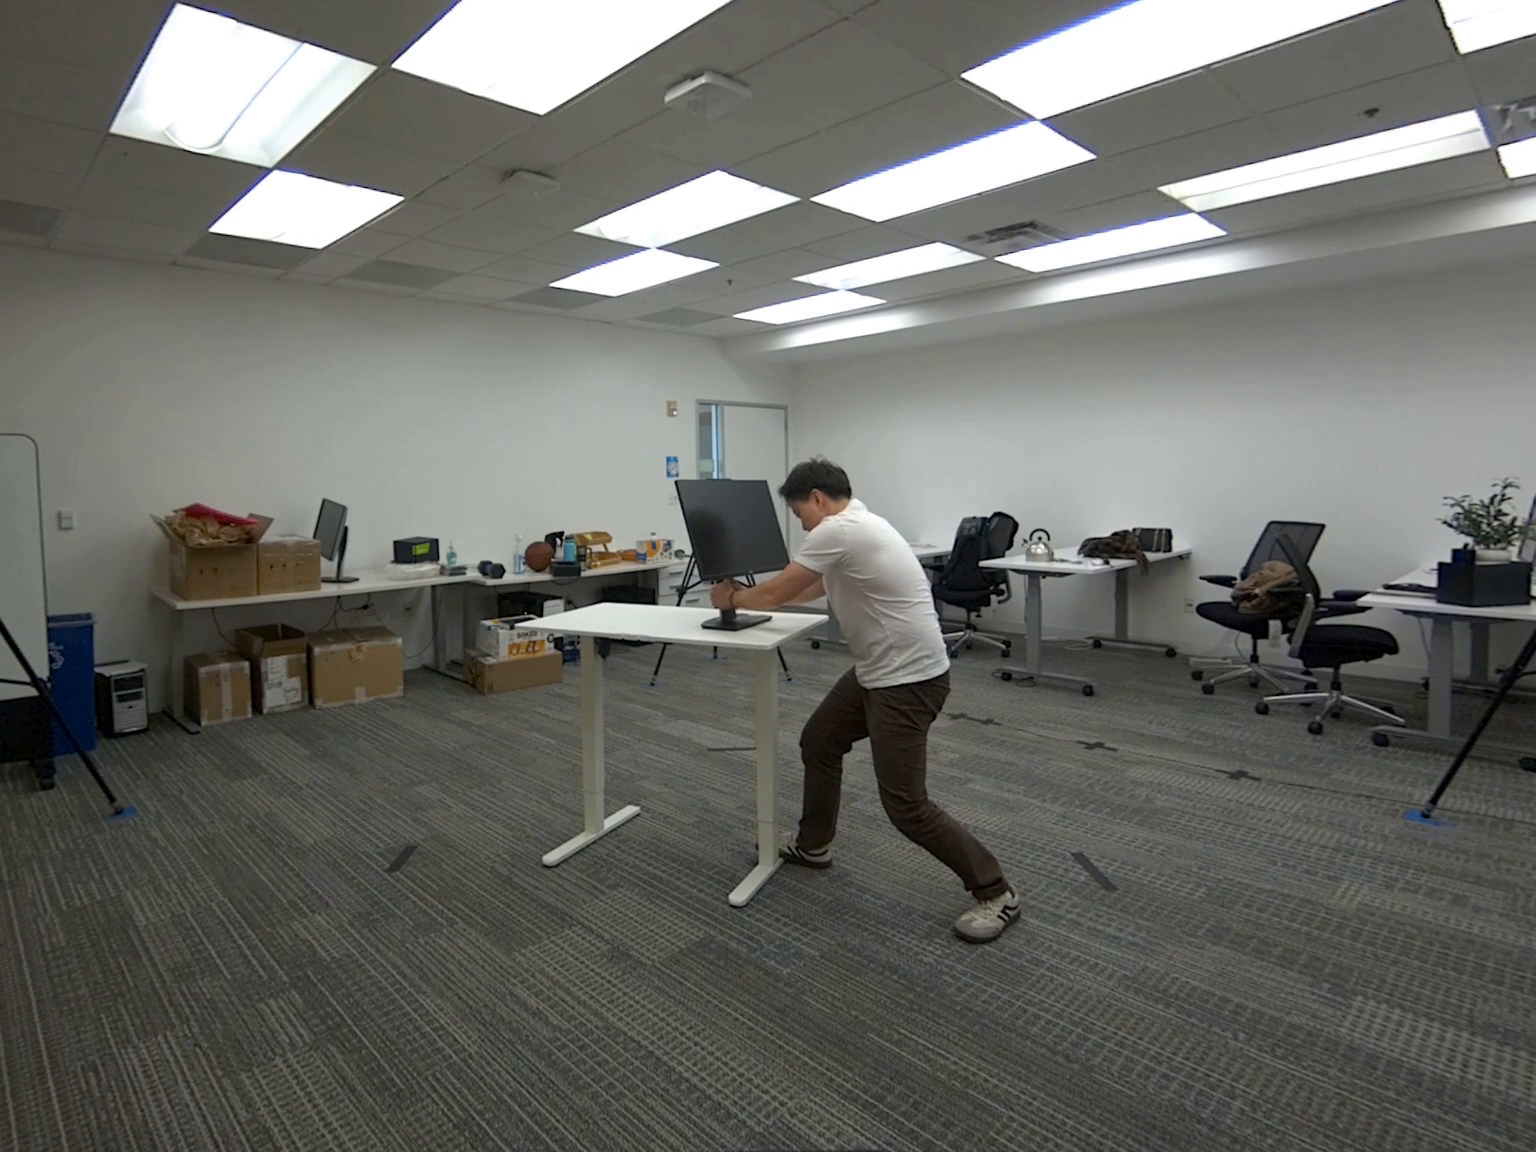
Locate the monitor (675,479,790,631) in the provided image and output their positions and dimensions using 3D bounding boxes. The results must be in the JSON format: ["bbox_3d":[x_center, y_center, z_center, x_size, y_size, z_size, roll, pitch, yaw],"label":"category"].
[{"bbox_3d":[-0.126,-0.084,3.056,0.192,0.522,0.526,-3,2,32],"label":"monitor"}]
